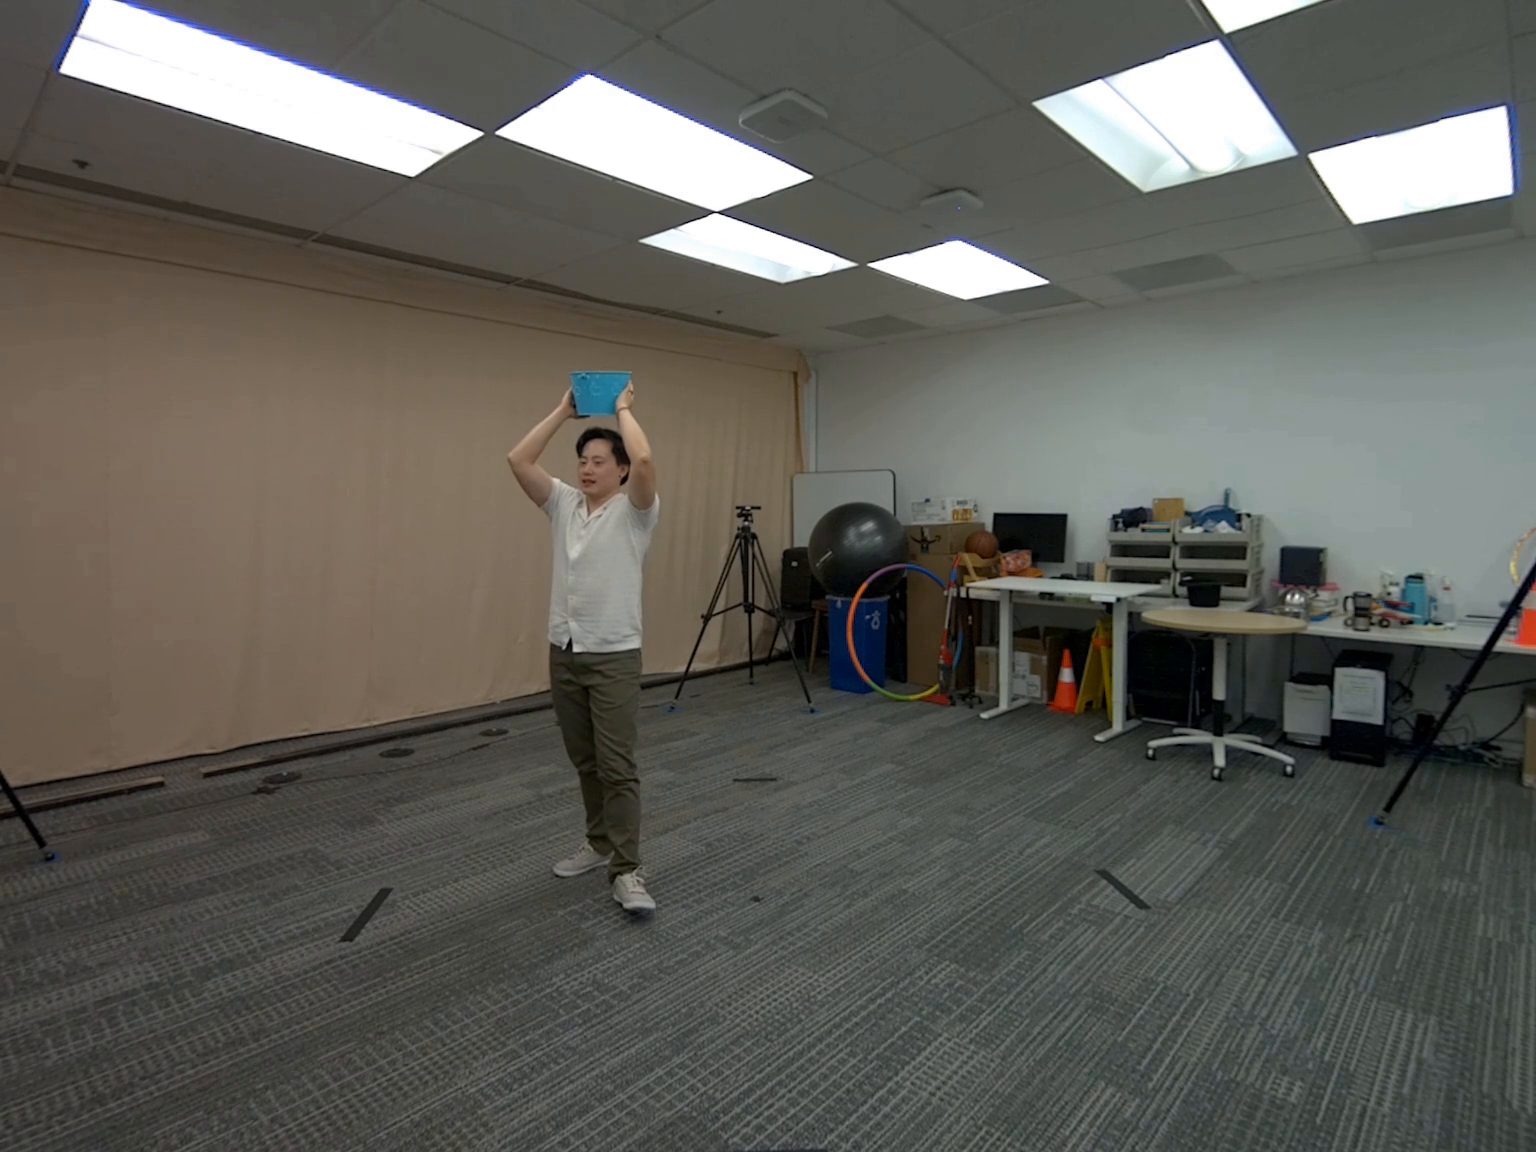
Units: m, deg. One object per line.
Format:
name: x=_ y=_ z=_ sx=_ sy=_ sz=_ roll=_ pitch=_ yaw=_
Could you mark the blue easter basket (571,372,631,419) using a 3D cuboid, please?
blue easter basket: x=-0.618 y=-0.676 z=3.103 sx=0.243 sy=0.155 sz=0.245 roll=0 pitch=10 yaw=-2
